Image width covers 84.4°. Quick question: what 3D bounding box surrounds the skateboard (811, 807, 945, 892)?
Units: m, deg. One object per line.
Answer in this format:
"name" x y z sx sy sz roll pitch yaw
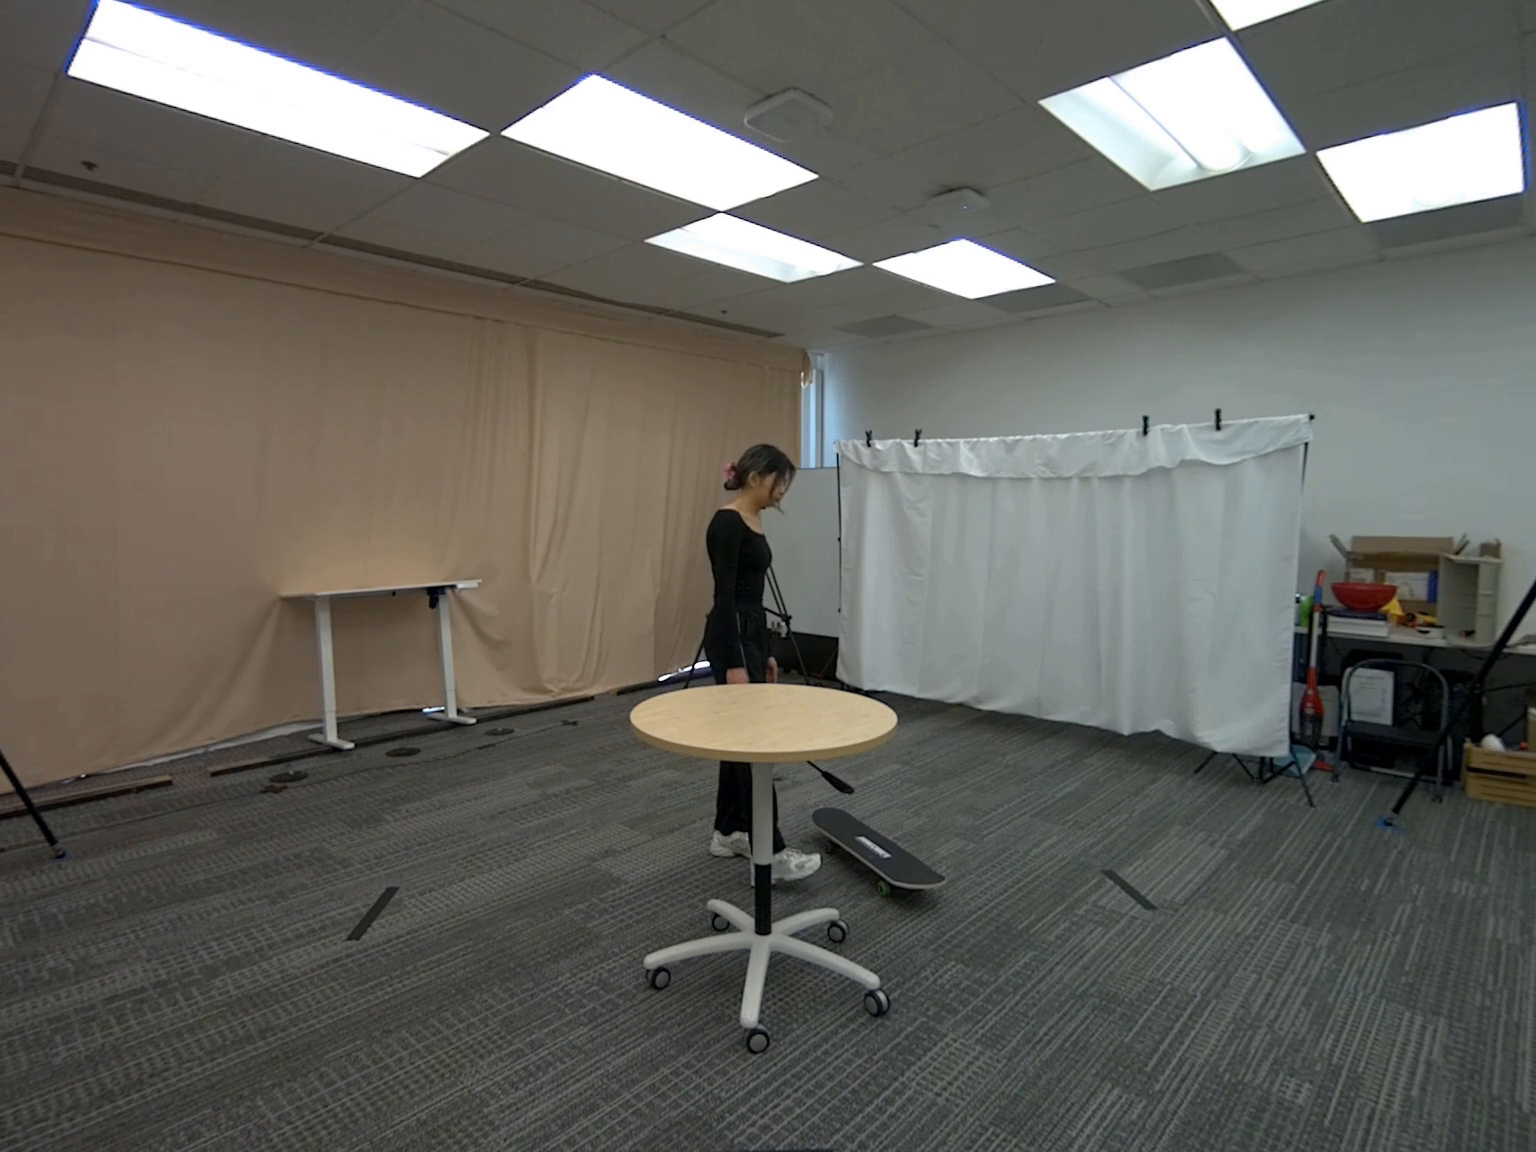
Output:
"skateboard" 0.403 1.064 3.219 0.189 0.110 0.804 -2 5 -23
